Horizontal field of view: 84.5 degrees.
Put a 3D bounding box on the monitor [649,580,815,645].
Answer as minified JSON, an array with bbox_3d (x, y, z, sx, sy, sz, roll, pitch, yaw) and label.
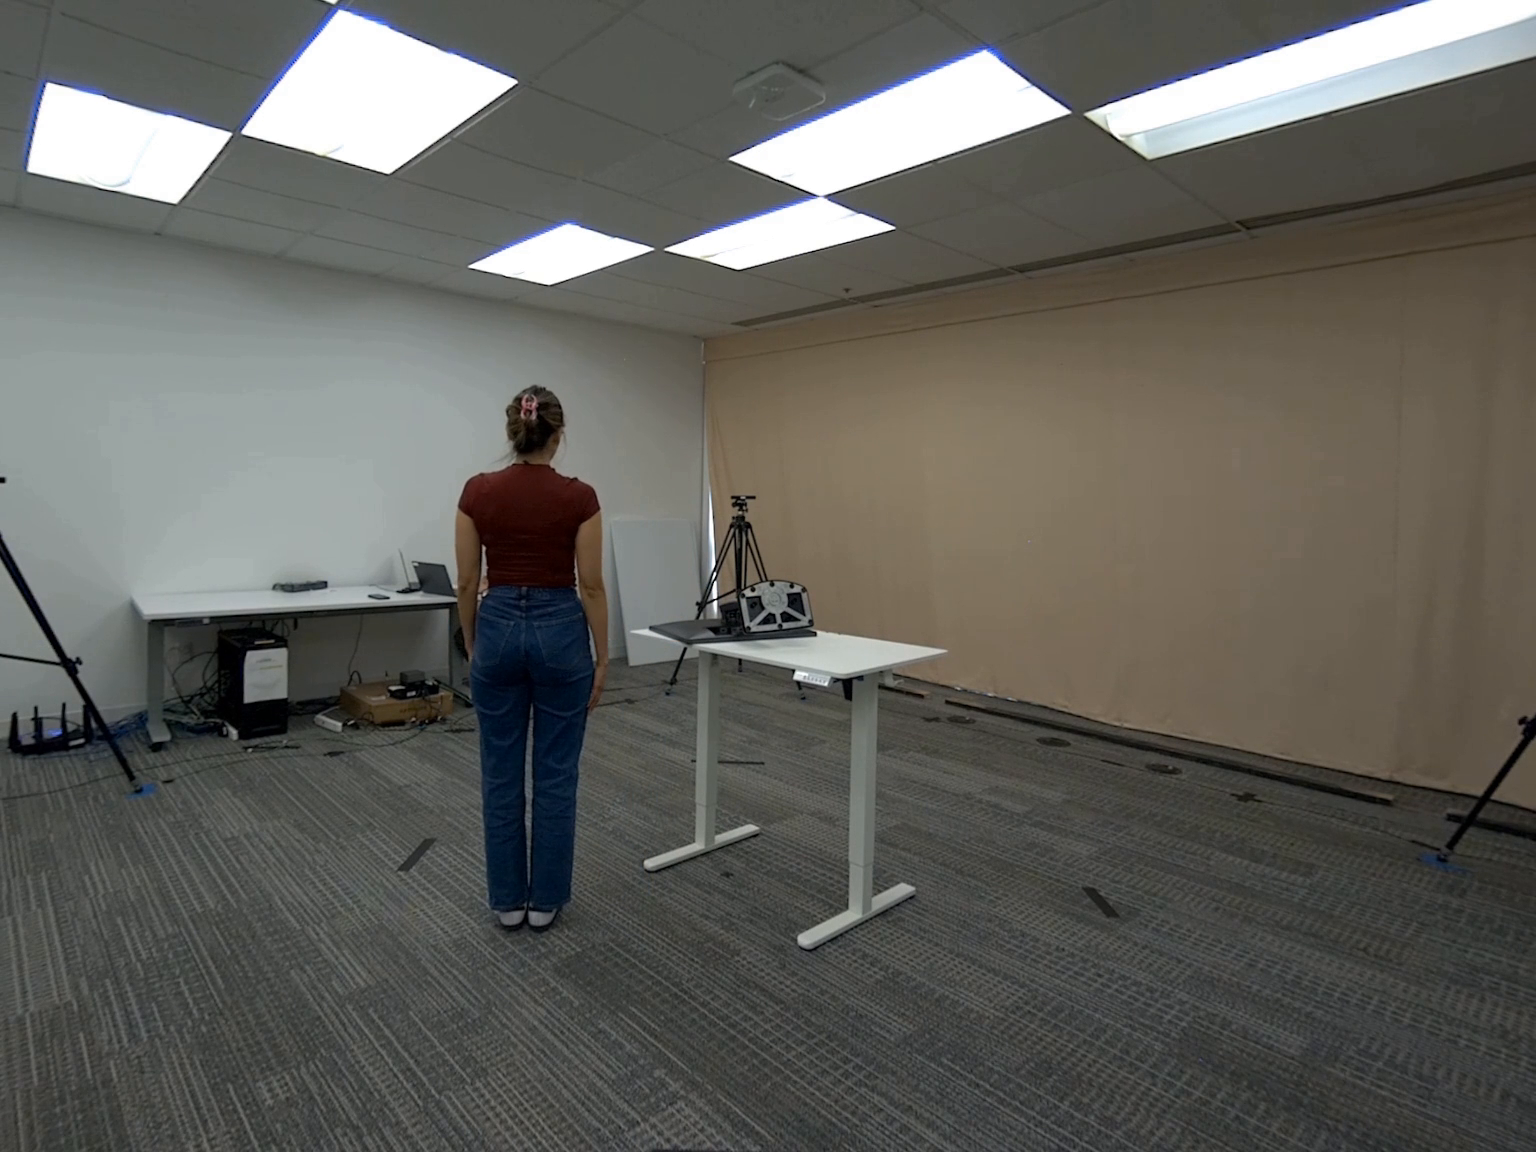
[{"bbox_3d":[-0.105,0.156,3.097,0.529,0.189,0.528,-1,-11,-28],"label":"monitor"}]
